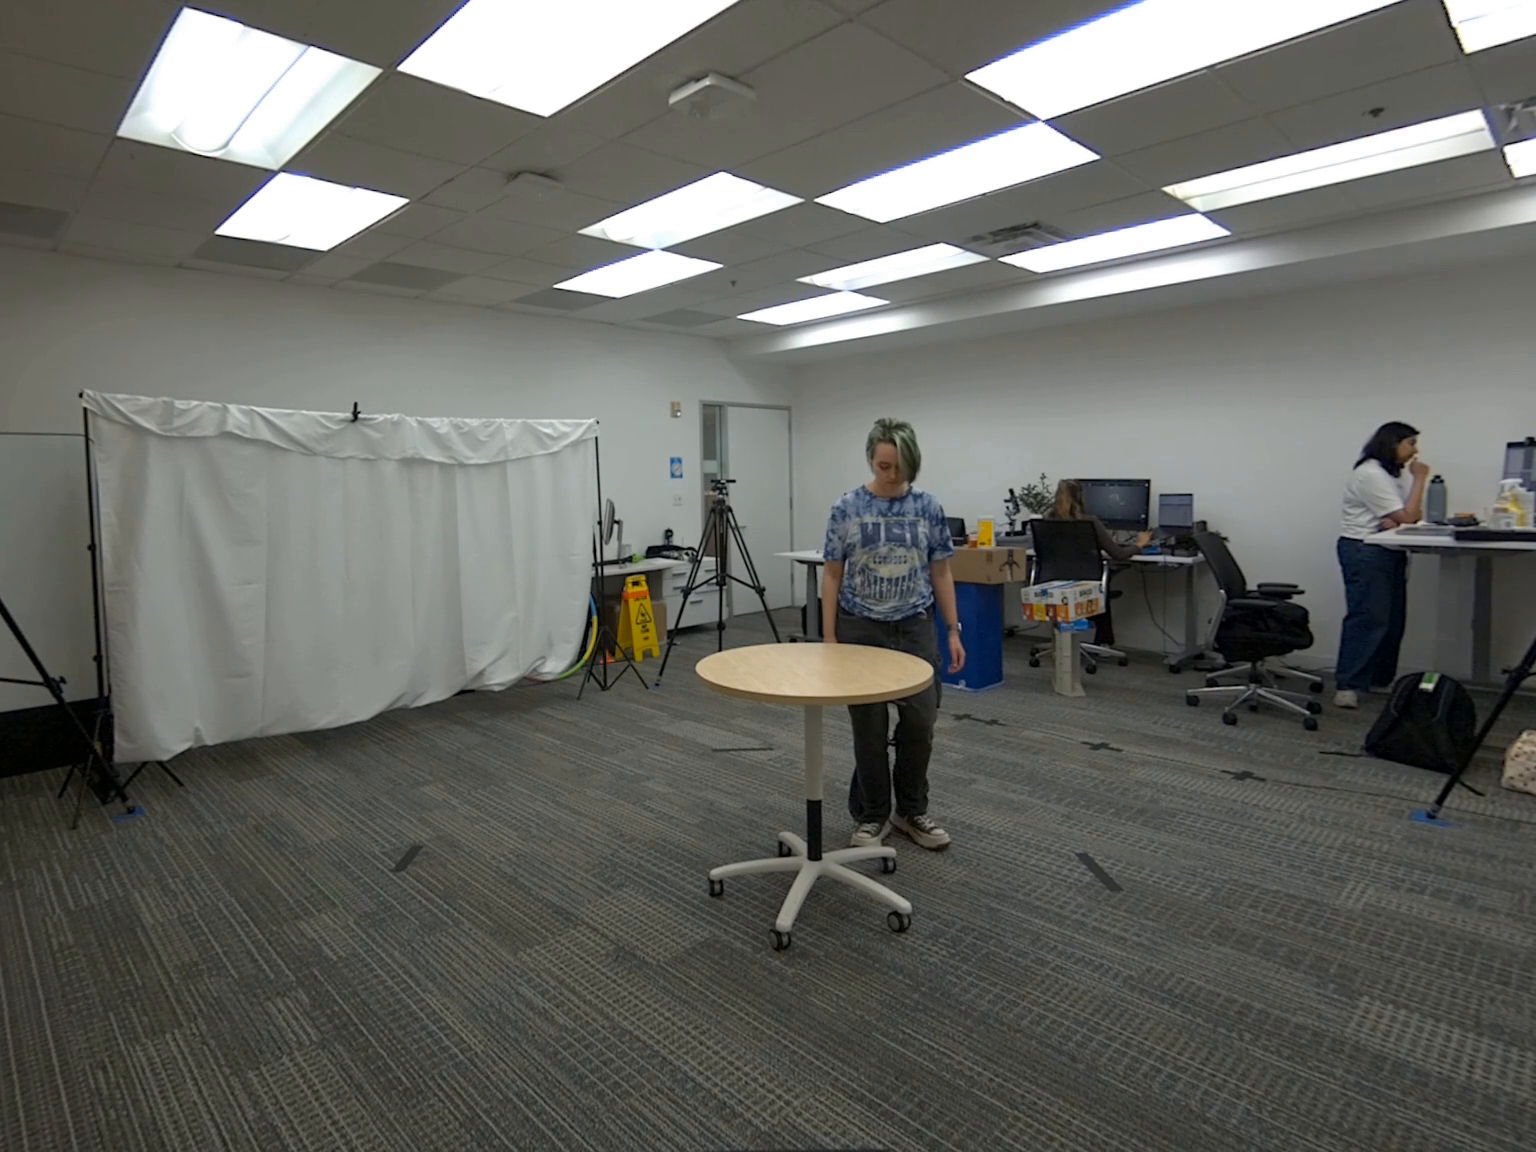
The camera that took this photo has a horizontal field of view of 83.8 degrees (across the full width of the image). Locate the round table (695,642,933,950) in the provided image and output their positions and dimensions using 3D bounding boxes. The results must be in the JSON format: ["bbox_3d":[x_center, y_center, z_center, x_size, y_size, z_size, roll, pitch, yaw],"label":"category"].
[{"bbox_3d":[0.152,0.688,2.809,0.763,0.791,0.768,-1,5,-2],"label":"round table"}]
